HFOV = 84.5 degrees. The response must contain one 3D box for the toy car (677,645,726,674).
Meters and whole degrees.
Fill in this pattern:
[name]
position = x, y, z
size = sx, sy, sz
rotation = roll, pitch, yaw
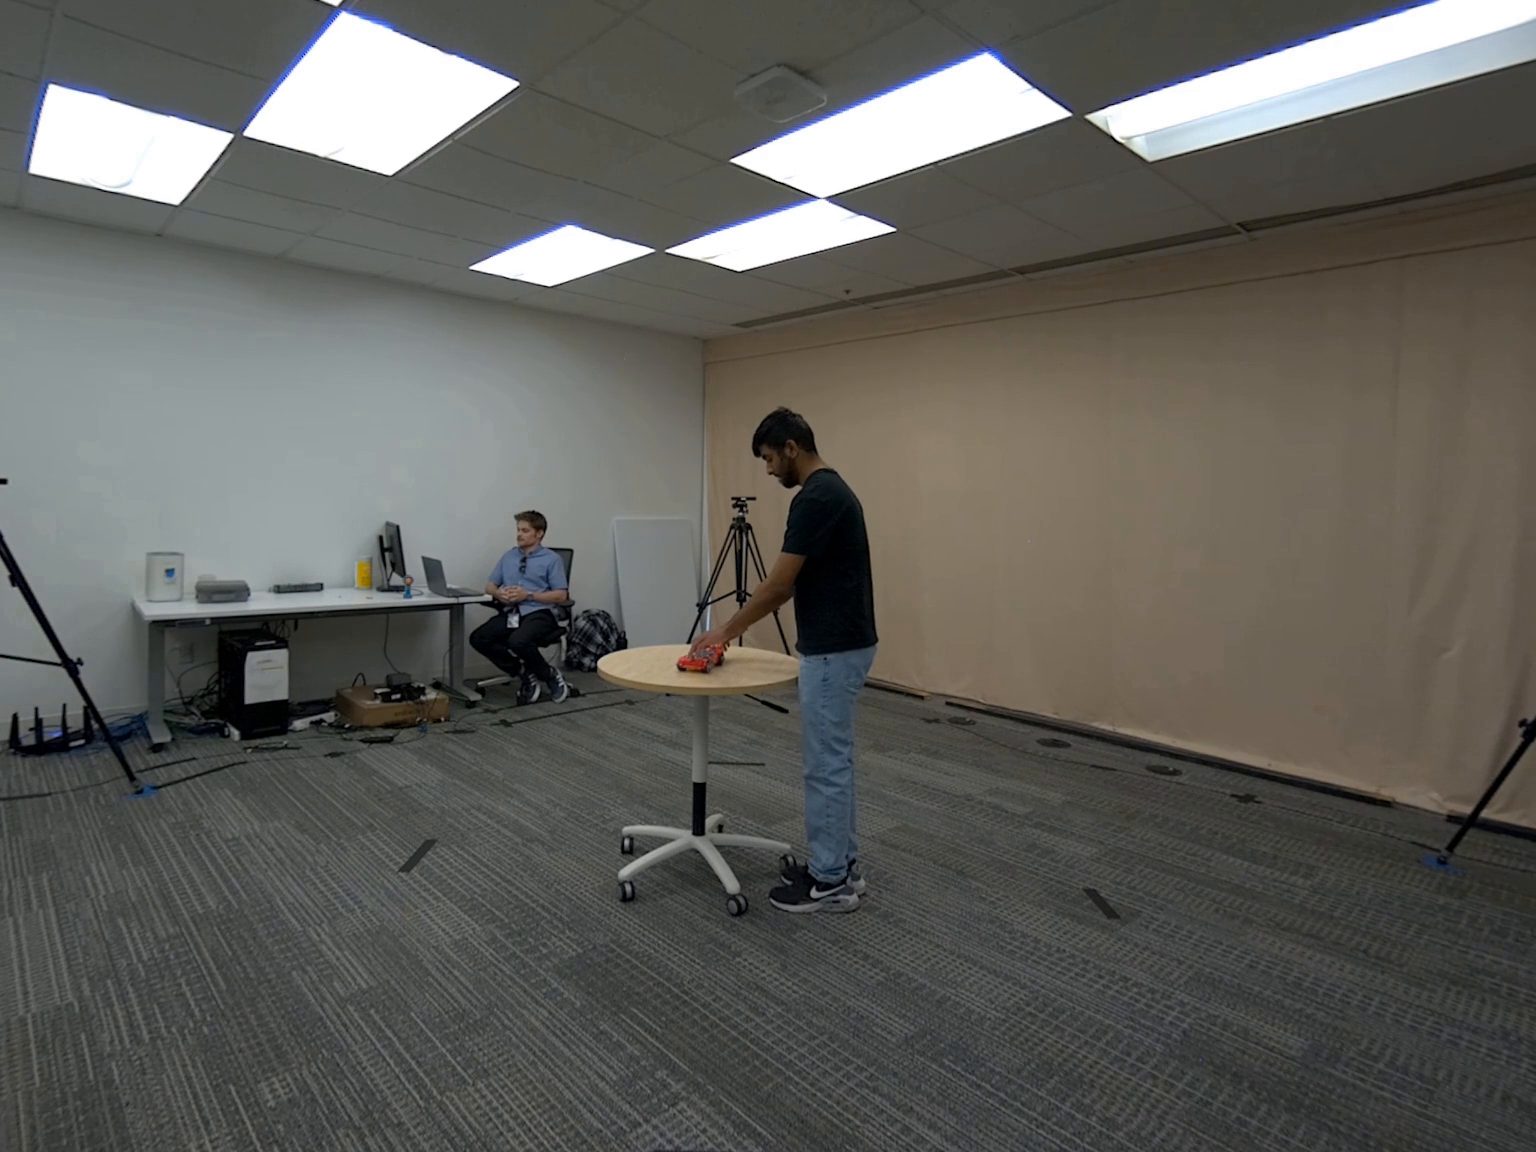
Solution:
[toy car]
position = -0.235, 0.295, 3.040
size = 0.132, 0.082, 0.254
rotation = 3, 16, 15
